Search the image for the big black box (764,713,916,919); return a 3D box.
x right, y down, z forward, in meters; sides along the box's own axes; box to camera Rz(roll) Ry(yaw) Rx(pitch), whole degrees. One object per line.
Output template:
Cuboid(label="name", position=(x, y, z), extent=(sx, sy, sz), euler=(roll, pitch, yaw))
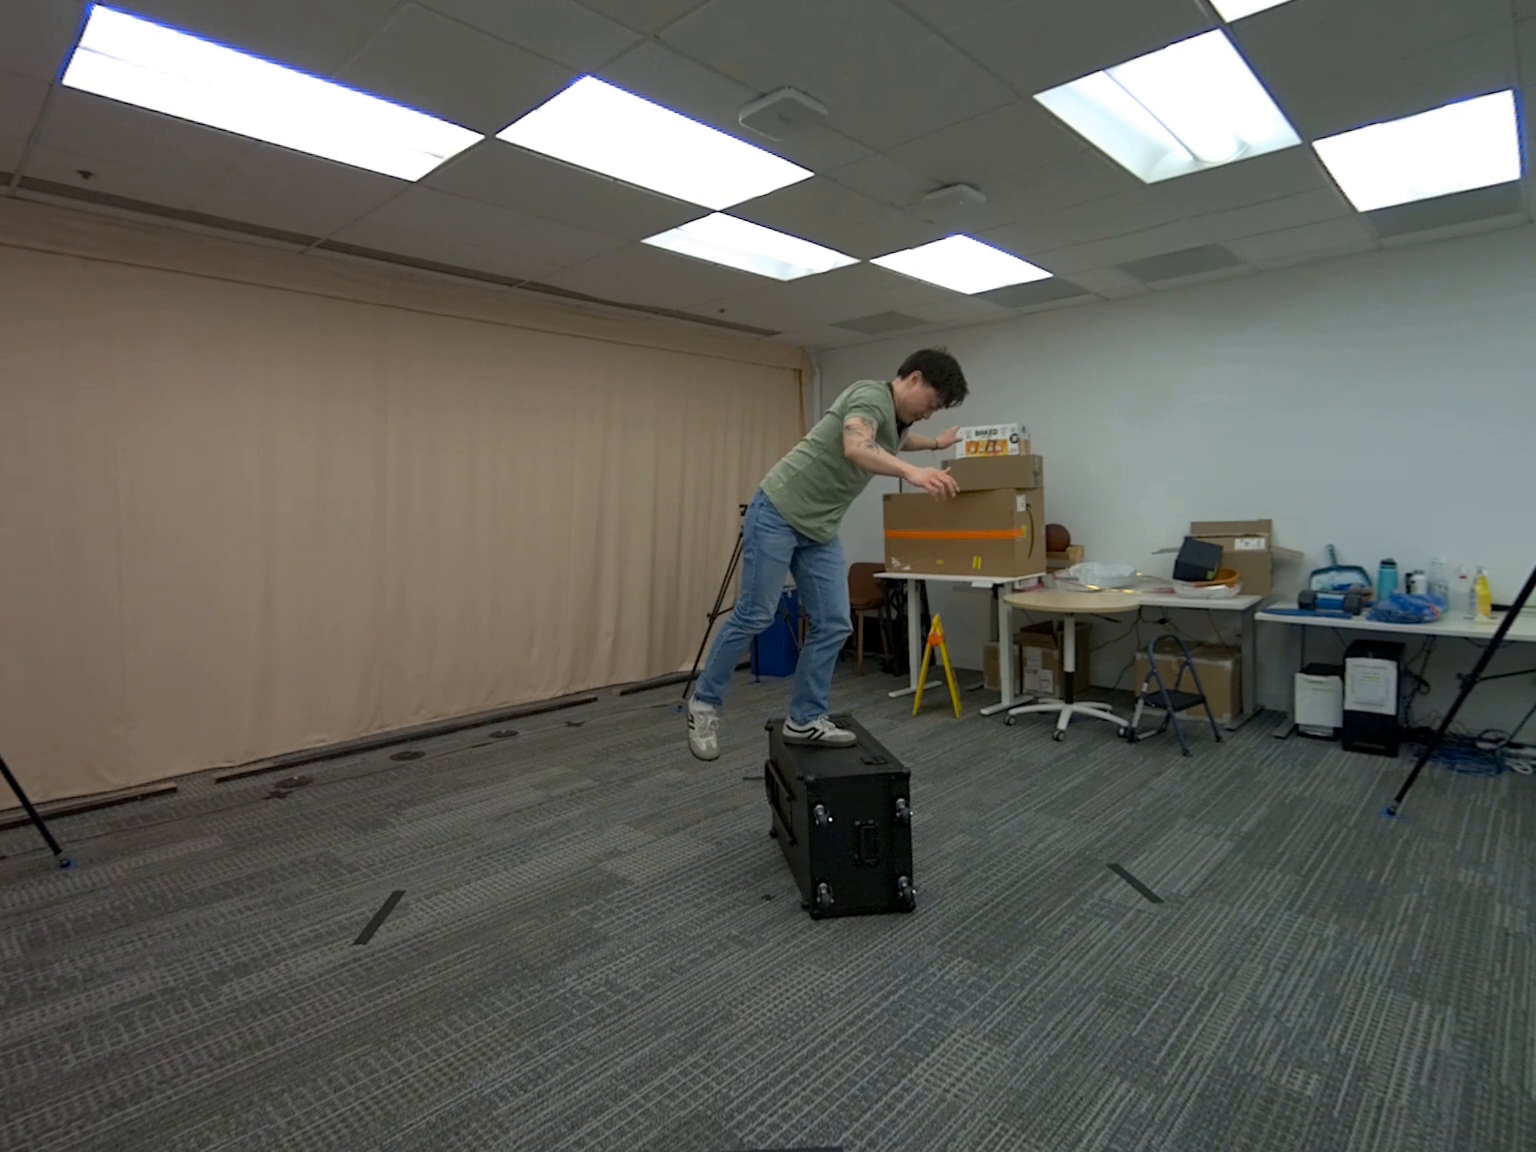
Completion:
Cuboid(label="big black box", position=(0.242, 0.866, 3.169), extent=(0.393, 0.520, 0.871), euler=(-3, 5, -9))
